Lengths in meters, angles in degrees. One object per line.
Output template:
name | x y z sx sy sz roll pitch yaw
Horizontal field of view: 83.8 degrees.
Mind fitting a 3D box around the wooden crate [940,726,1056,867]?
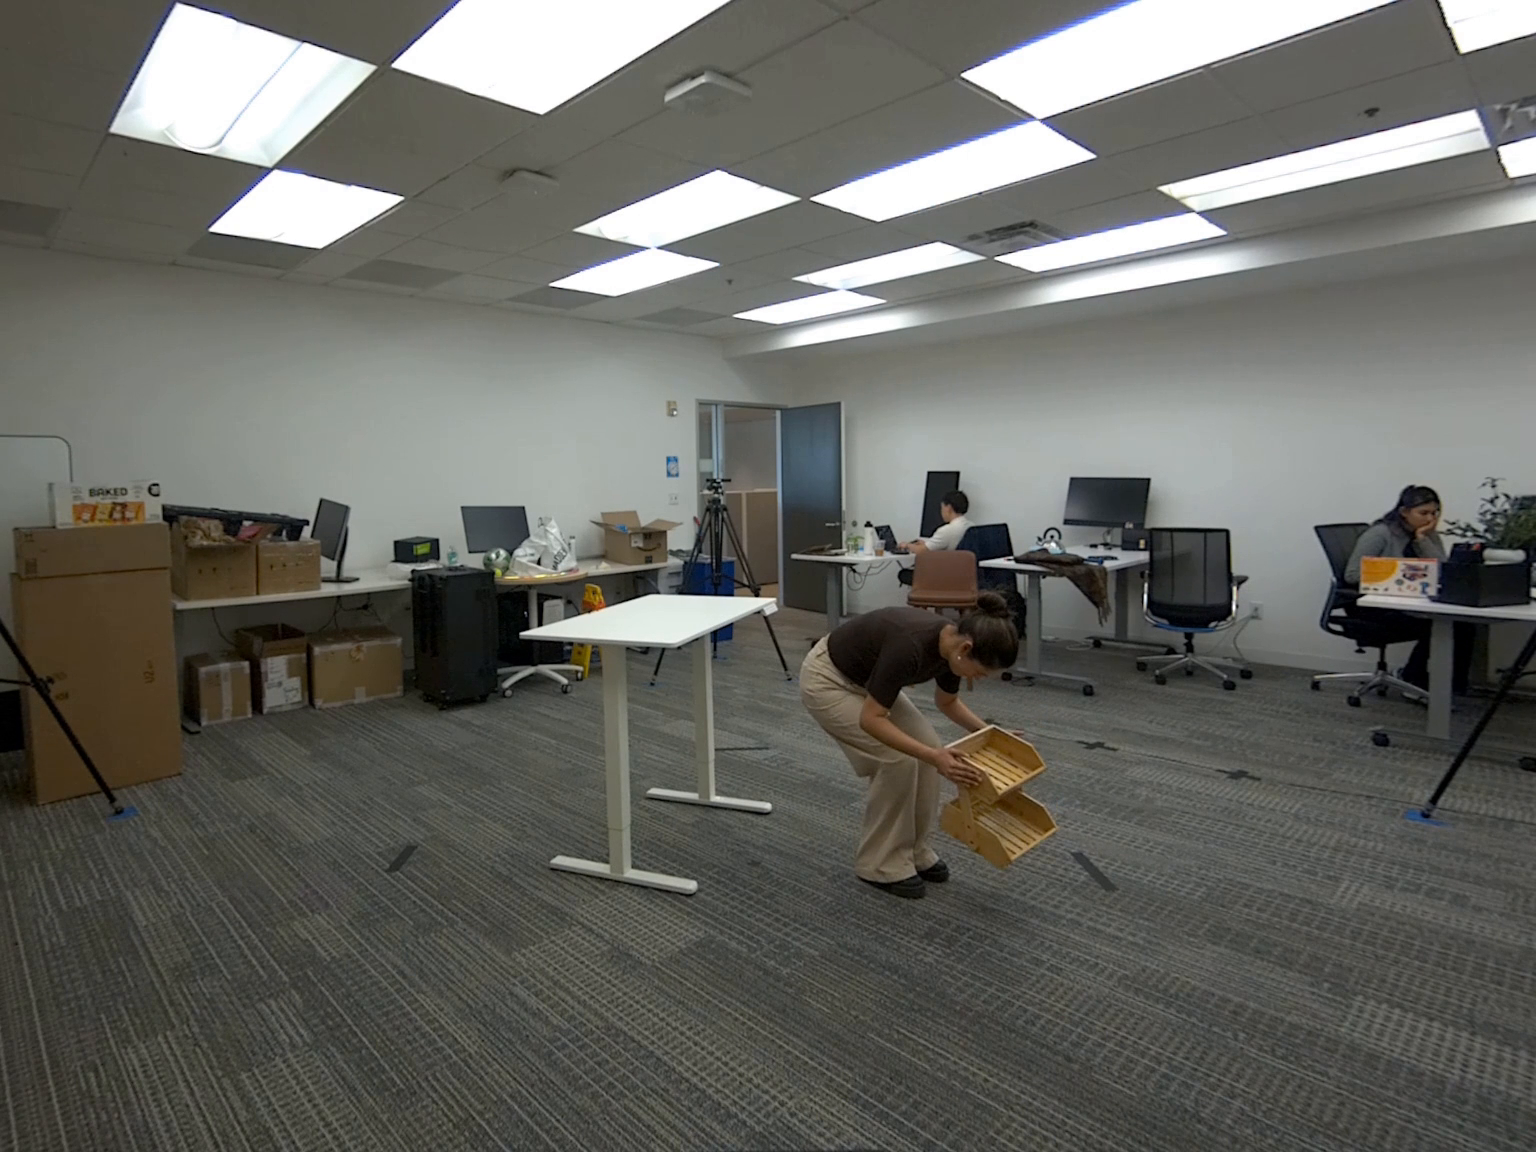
wooden crate | 0.742 0.685 2.683 0.313 0.270 0.316 25 21 39
